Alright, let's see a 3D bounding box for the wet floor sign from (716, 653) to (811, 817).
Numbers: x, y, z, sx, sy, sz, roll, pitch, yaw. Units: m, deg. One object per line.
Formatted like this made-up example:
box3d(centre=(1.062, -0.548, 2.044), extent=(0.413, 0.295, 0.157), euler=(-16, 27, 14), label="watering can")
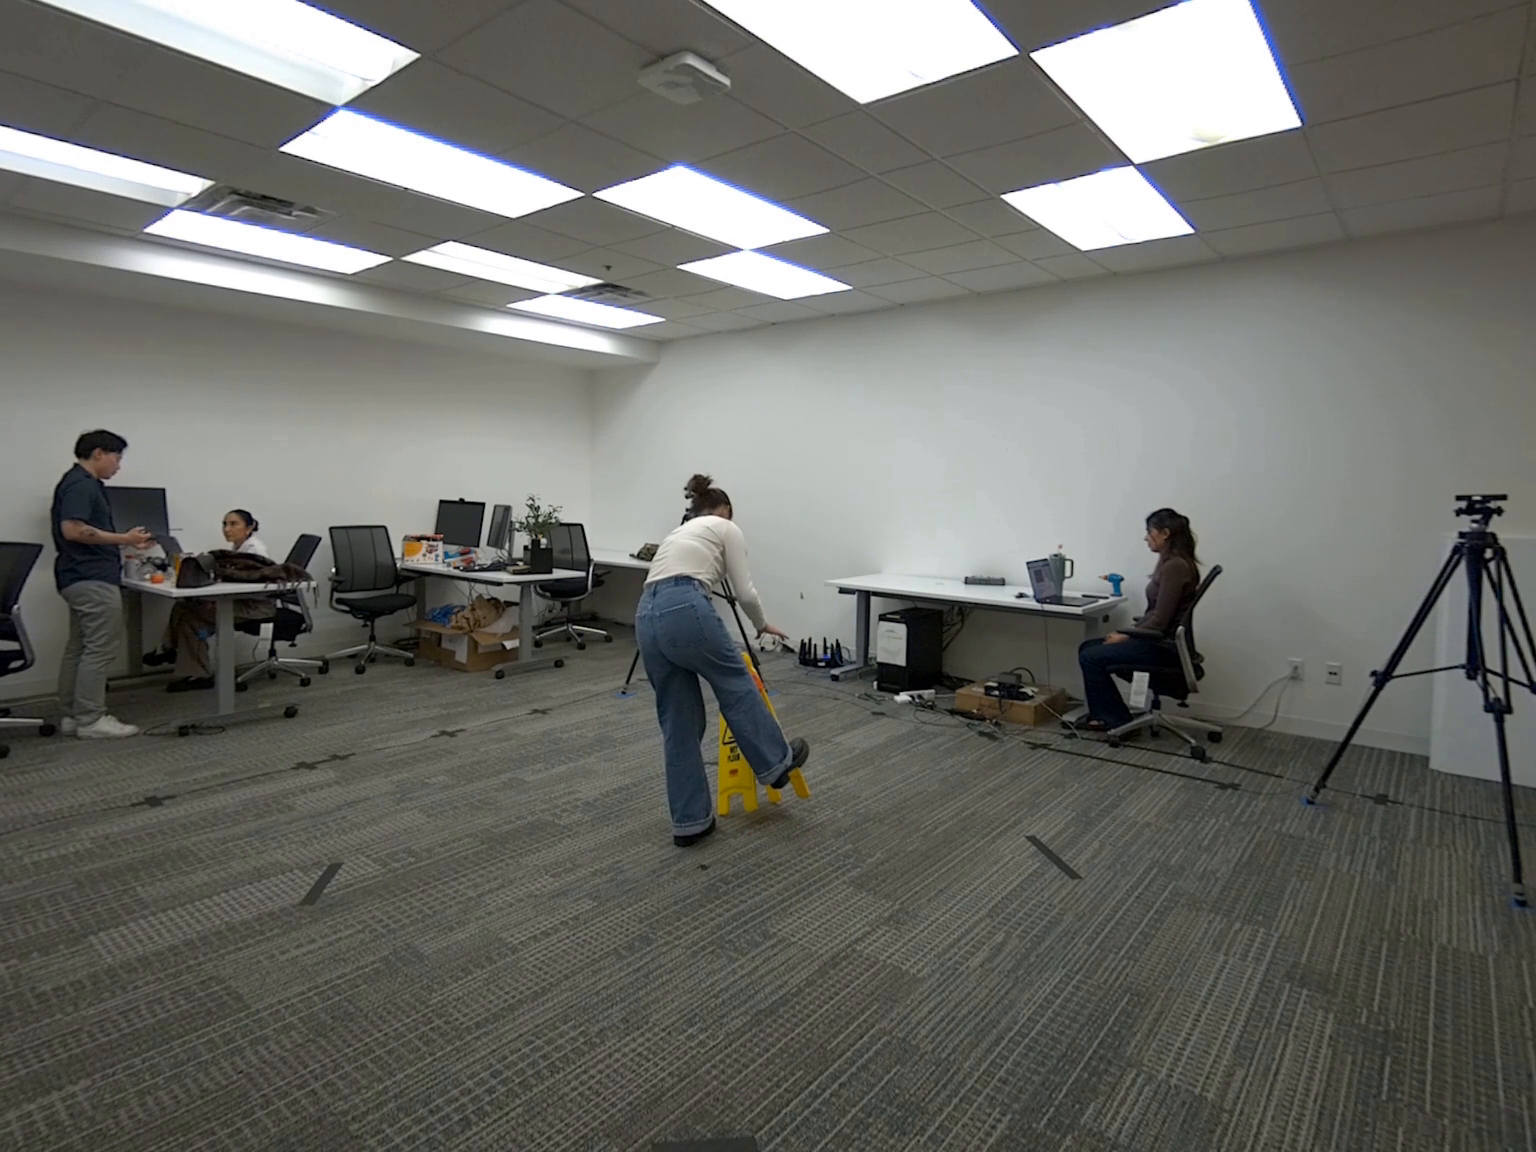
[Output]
box3d(centre=(-0.094, 0.663, 3.696), extent=(0.281, 0.658, 0.285), euler=(-2, -19, -36), label="wet floor sign")
